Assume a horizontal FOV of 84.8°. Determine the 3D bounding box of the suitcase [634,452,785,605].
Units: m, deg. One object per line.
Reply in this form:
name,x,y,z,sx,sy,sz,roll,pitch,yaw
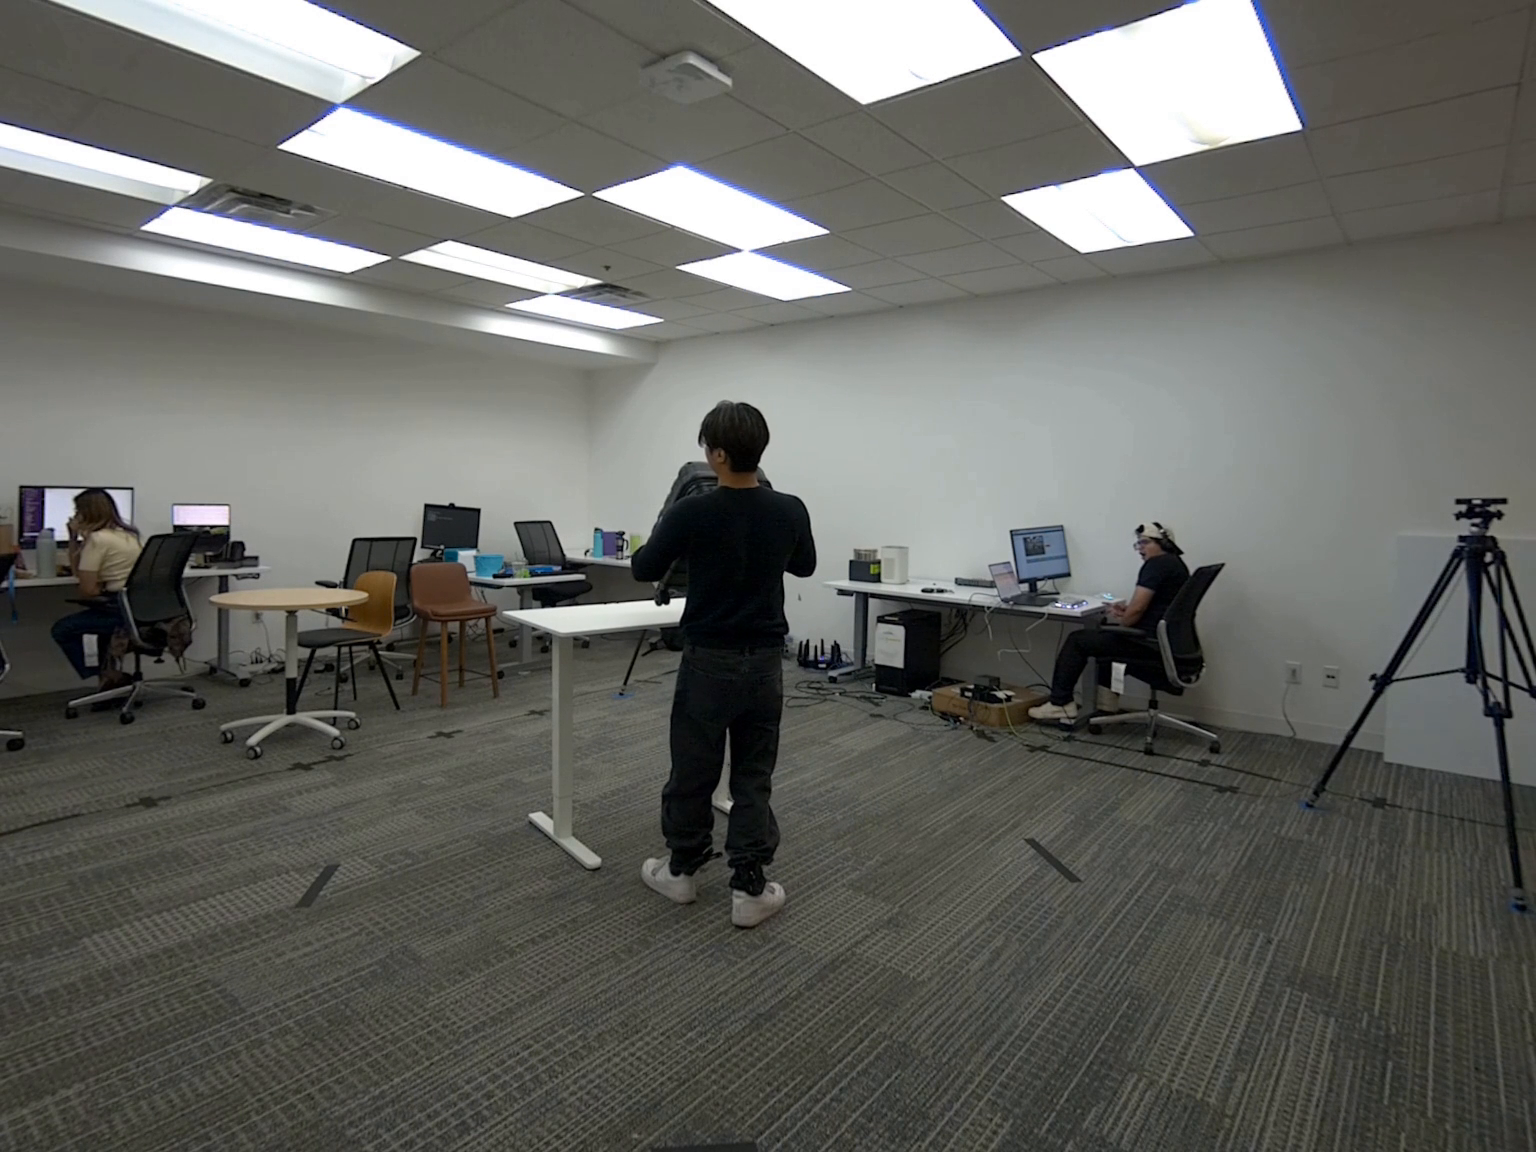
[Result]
suitcase,-0.228,-0.167,3.151,0.366,0.257,0.543,1,-41,-27
